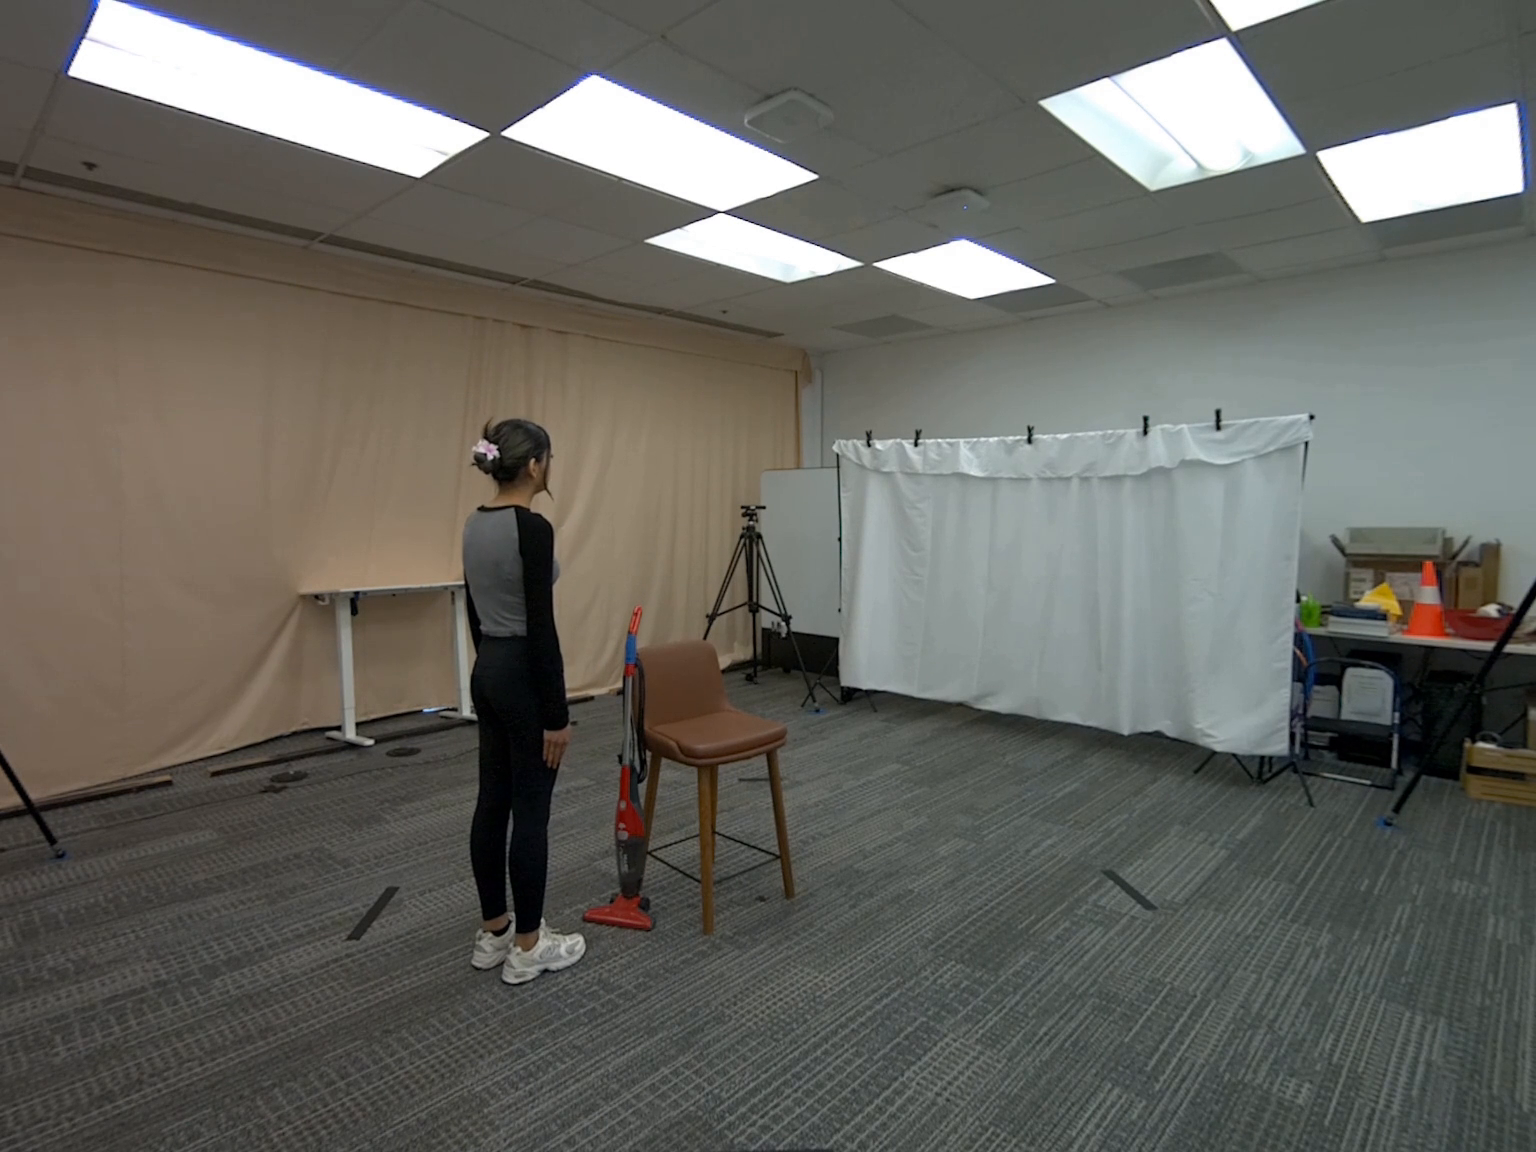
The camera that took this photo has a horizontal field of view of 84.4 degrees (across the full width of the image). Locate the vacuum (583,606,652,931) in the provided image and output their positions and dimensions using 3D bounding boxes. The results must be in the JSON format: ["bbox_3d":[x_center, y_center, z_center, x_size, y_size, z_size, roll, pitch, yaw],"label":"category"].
[{"bbox_3d":[-0.472,0.636,2.899,0.244,1.049,0.149,4,1,-37],"label":"vacuum"}]
